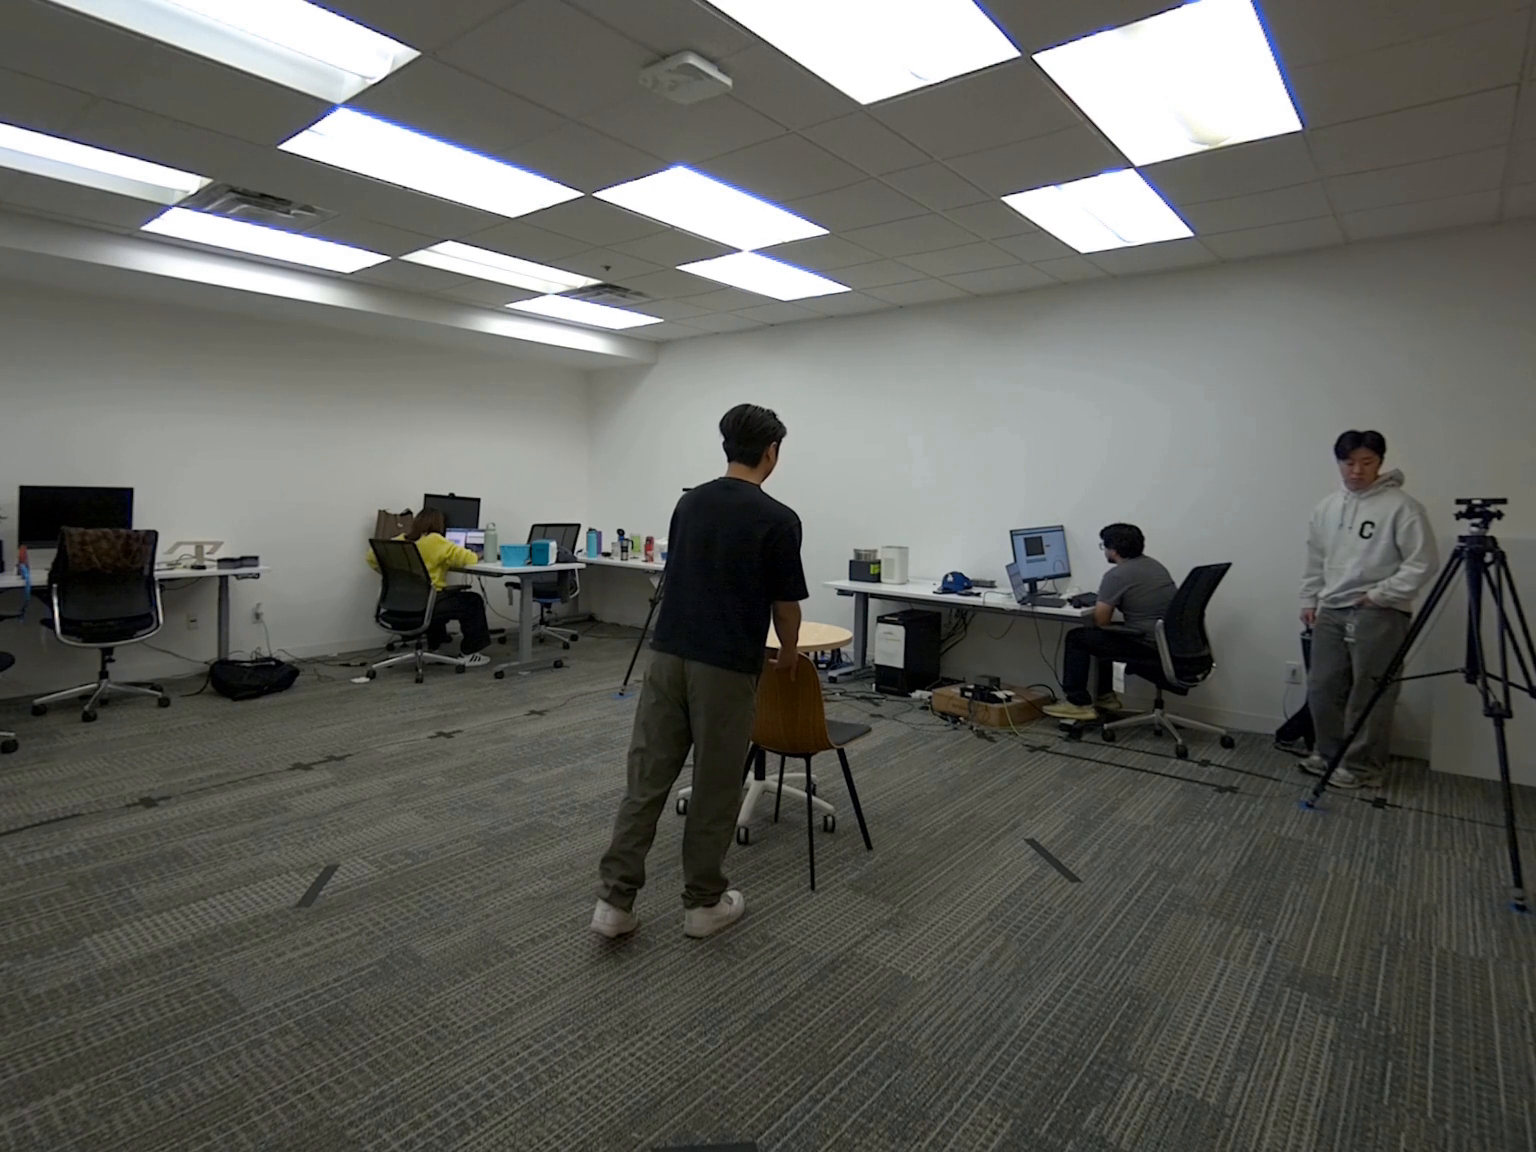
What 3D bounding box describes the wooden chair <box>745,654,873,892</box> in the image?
[{"bbox_3d":[0.101,0.631,3.246,0.493,0.871,0.510,4,9,35],"label":"wooden chair"}]
